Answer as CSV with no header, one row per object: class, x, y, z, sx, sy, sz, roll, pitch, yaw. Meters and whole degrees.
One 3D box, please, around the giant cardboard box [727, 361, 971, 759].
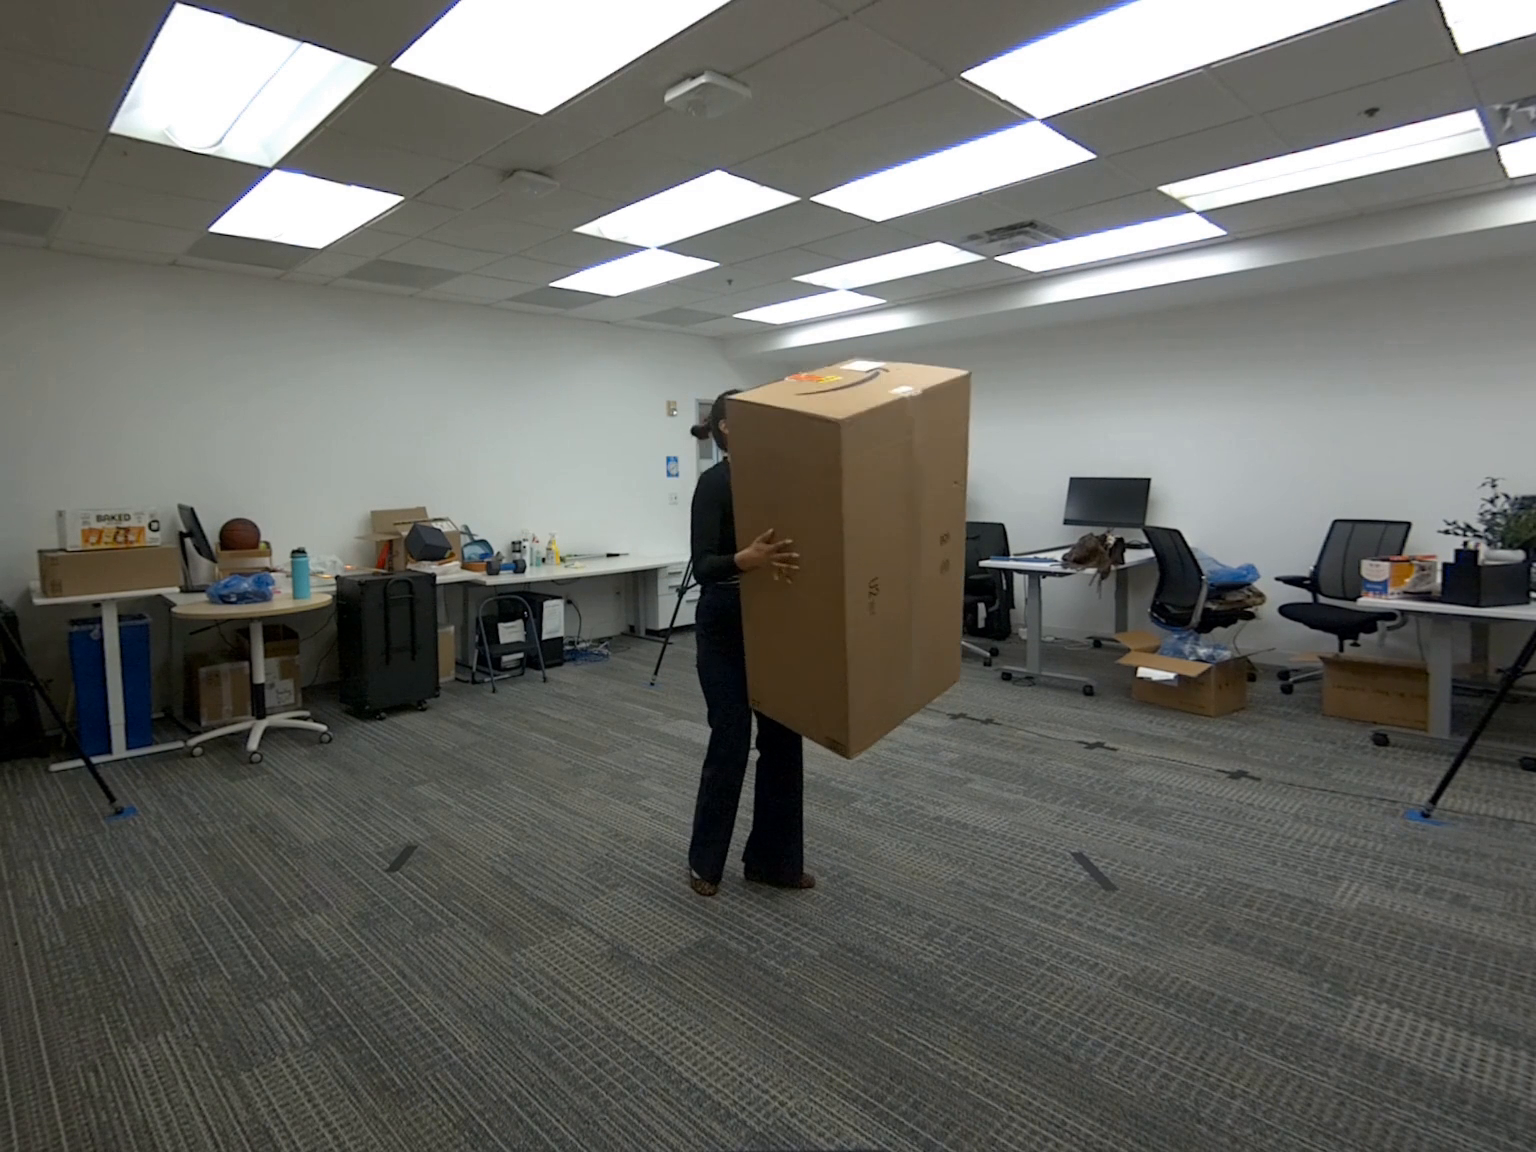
giant cardboard box,0.256,-0.083,2.581,0.569,1.004,0.442,-25,31,-38
